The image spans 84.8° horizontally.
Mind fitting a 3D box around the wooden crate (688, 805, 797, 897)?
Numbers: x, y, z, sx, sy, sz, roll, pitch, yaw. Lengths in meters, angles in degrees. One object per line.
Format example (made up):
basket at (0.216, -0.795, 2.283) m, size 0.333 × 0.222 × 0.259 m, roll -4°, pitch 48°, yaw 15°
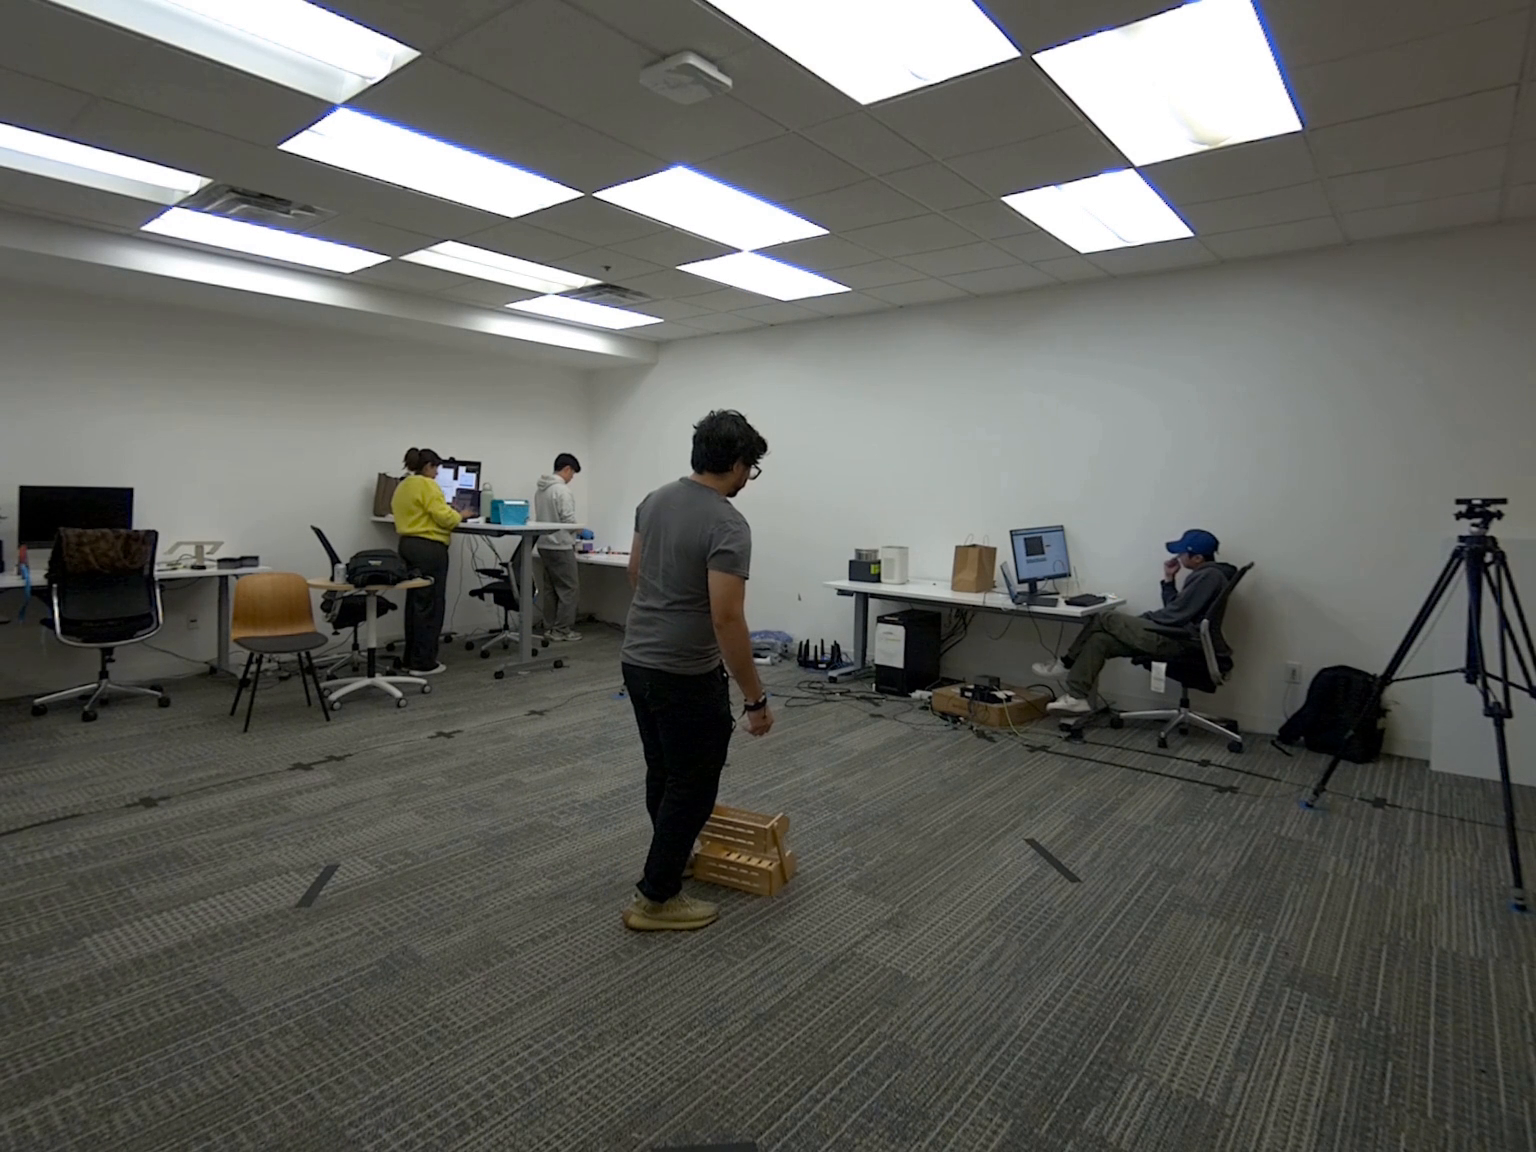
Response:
wooden crate at (-0.092, 0.945, 3.053) m, size 0.333 × 0.272 × 0.295 m, roll 3°, pitch 5°, yaw 24°
